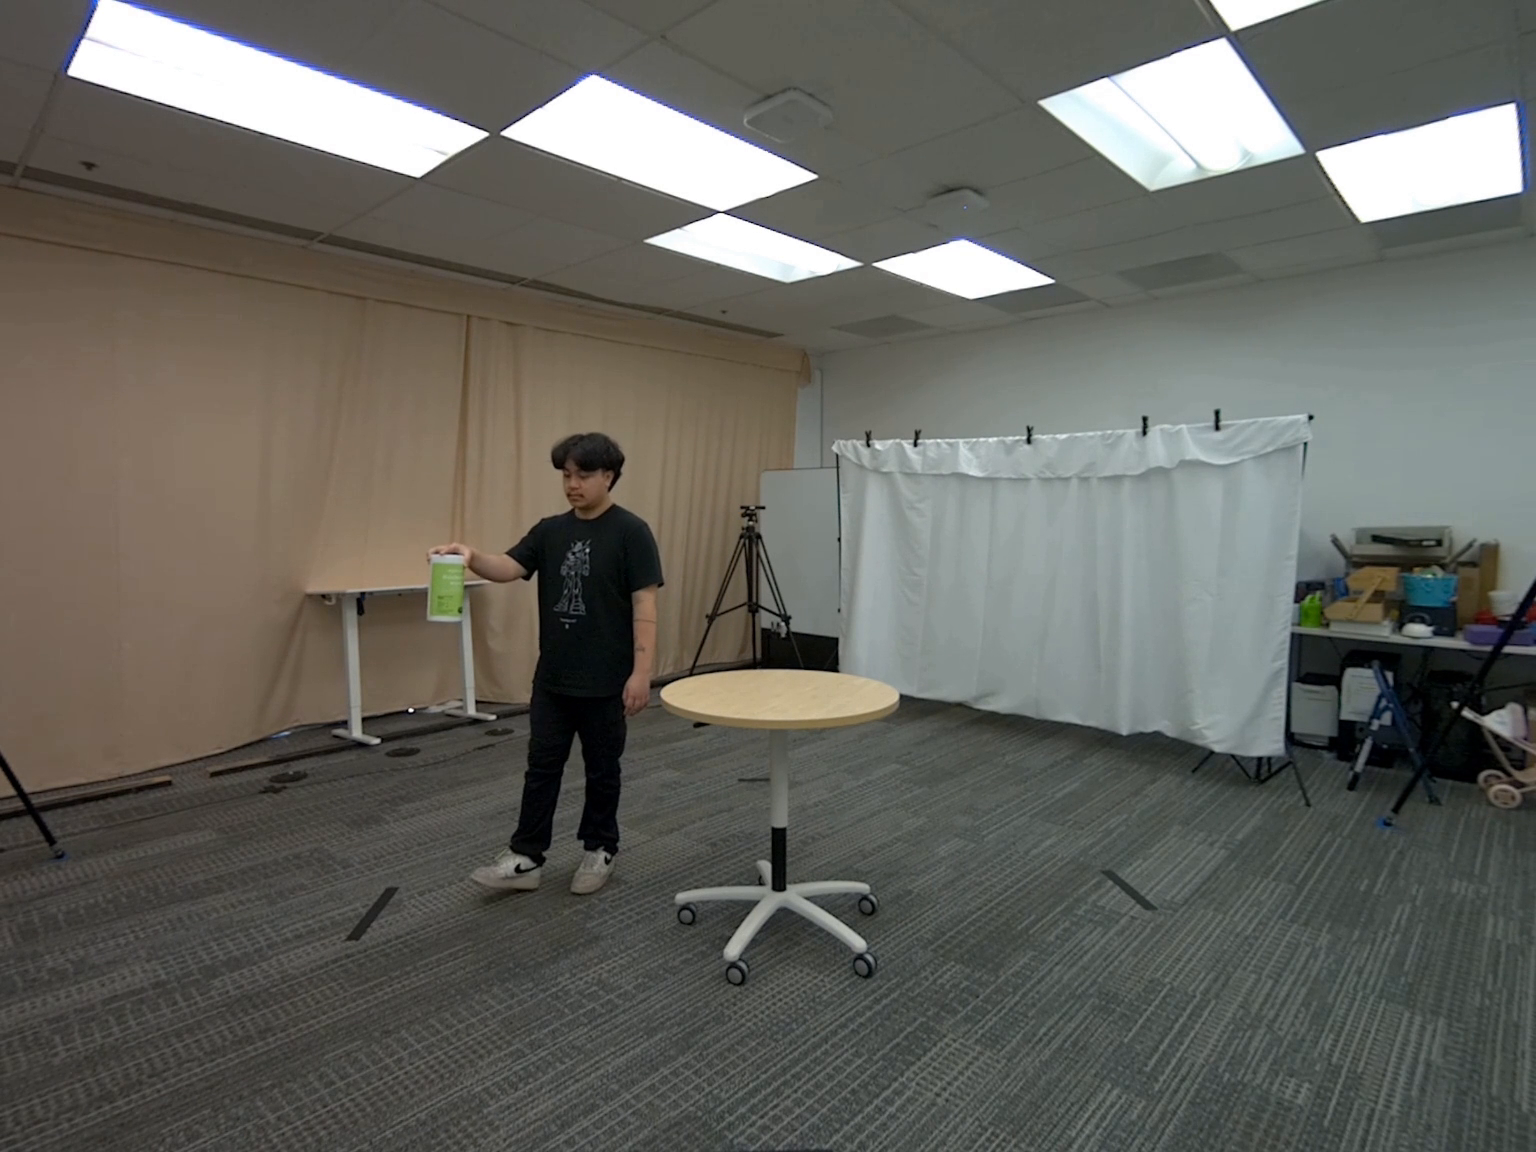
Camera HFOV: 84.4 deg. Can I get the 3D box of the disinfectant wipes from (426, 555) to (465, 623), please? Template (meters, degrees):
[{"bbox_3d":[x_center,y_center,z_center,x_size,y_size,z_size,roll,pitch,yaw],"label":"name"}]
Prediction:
[{"bbox_3d":[-1.035,0.039,2.703,0.118,0.217,0.118,4,0,-2],"label":"disinfectant wipes"}]
